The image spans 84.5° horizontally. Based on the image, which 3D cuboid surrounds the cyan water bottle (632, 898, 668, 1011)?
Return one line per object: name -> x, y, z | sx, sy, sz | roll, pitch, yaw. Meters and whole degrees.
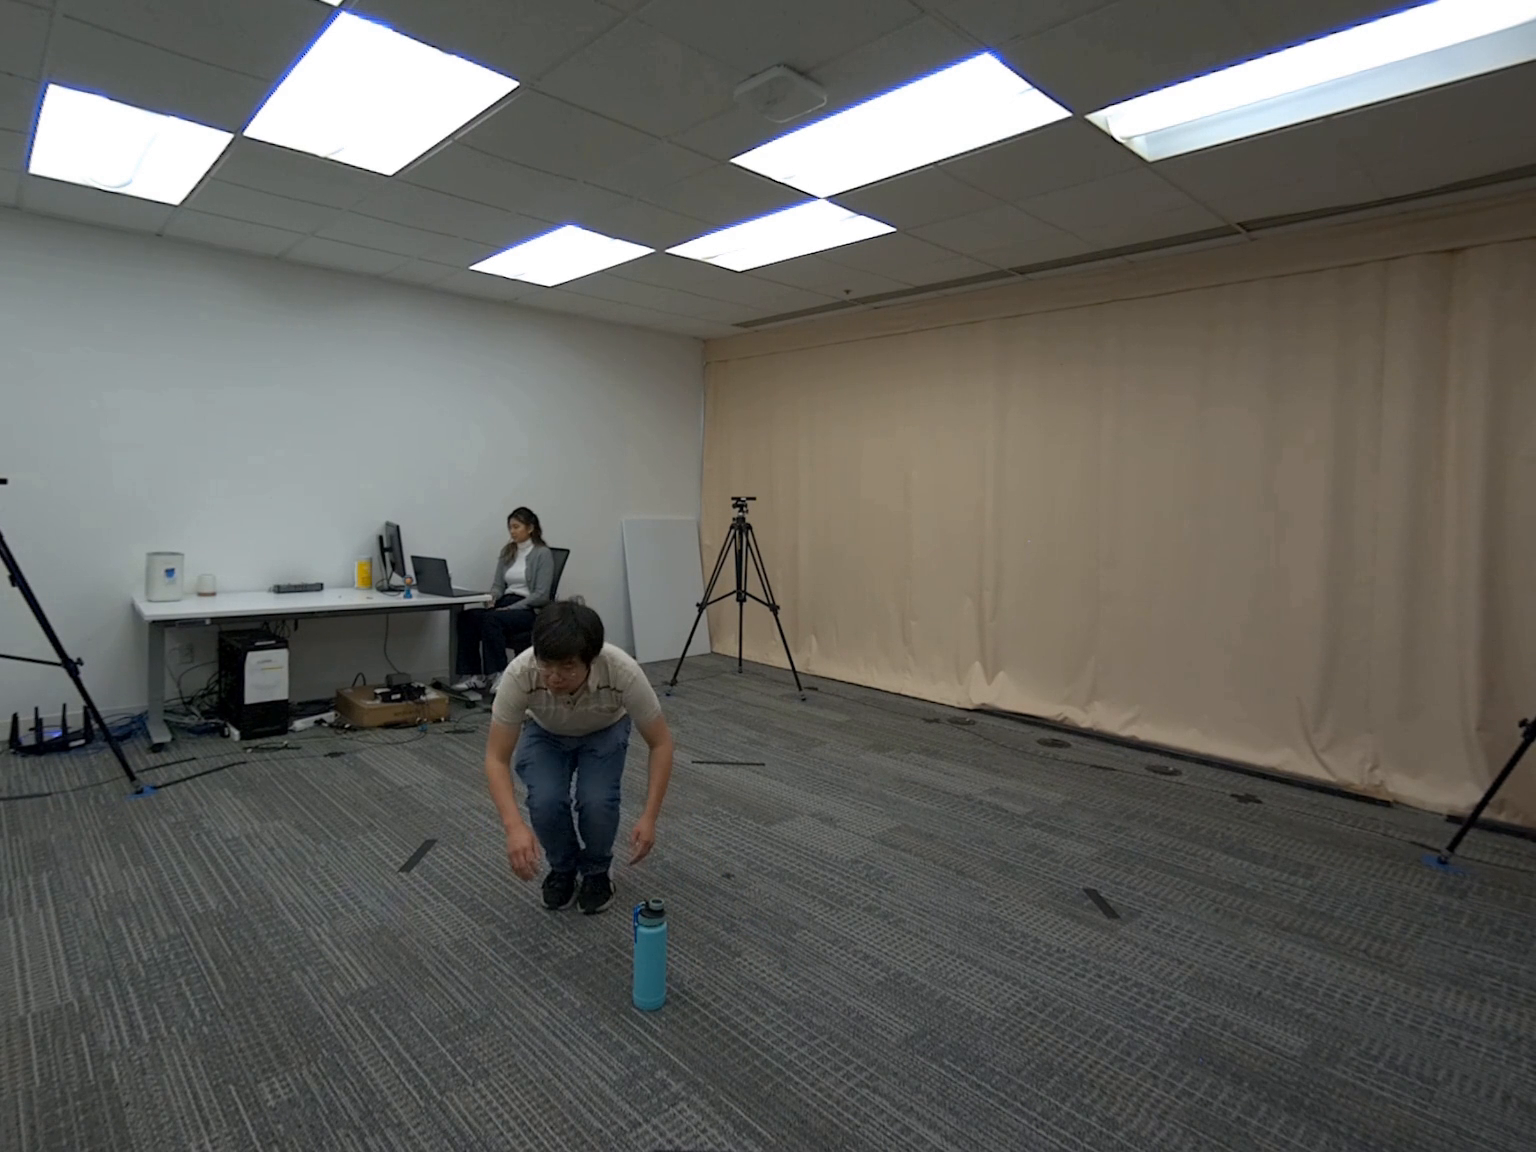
cyan water bottle -> -0.336, 1.036, 2.306 | 0.092, 0.283, 0.092 | 1, 3, -1
